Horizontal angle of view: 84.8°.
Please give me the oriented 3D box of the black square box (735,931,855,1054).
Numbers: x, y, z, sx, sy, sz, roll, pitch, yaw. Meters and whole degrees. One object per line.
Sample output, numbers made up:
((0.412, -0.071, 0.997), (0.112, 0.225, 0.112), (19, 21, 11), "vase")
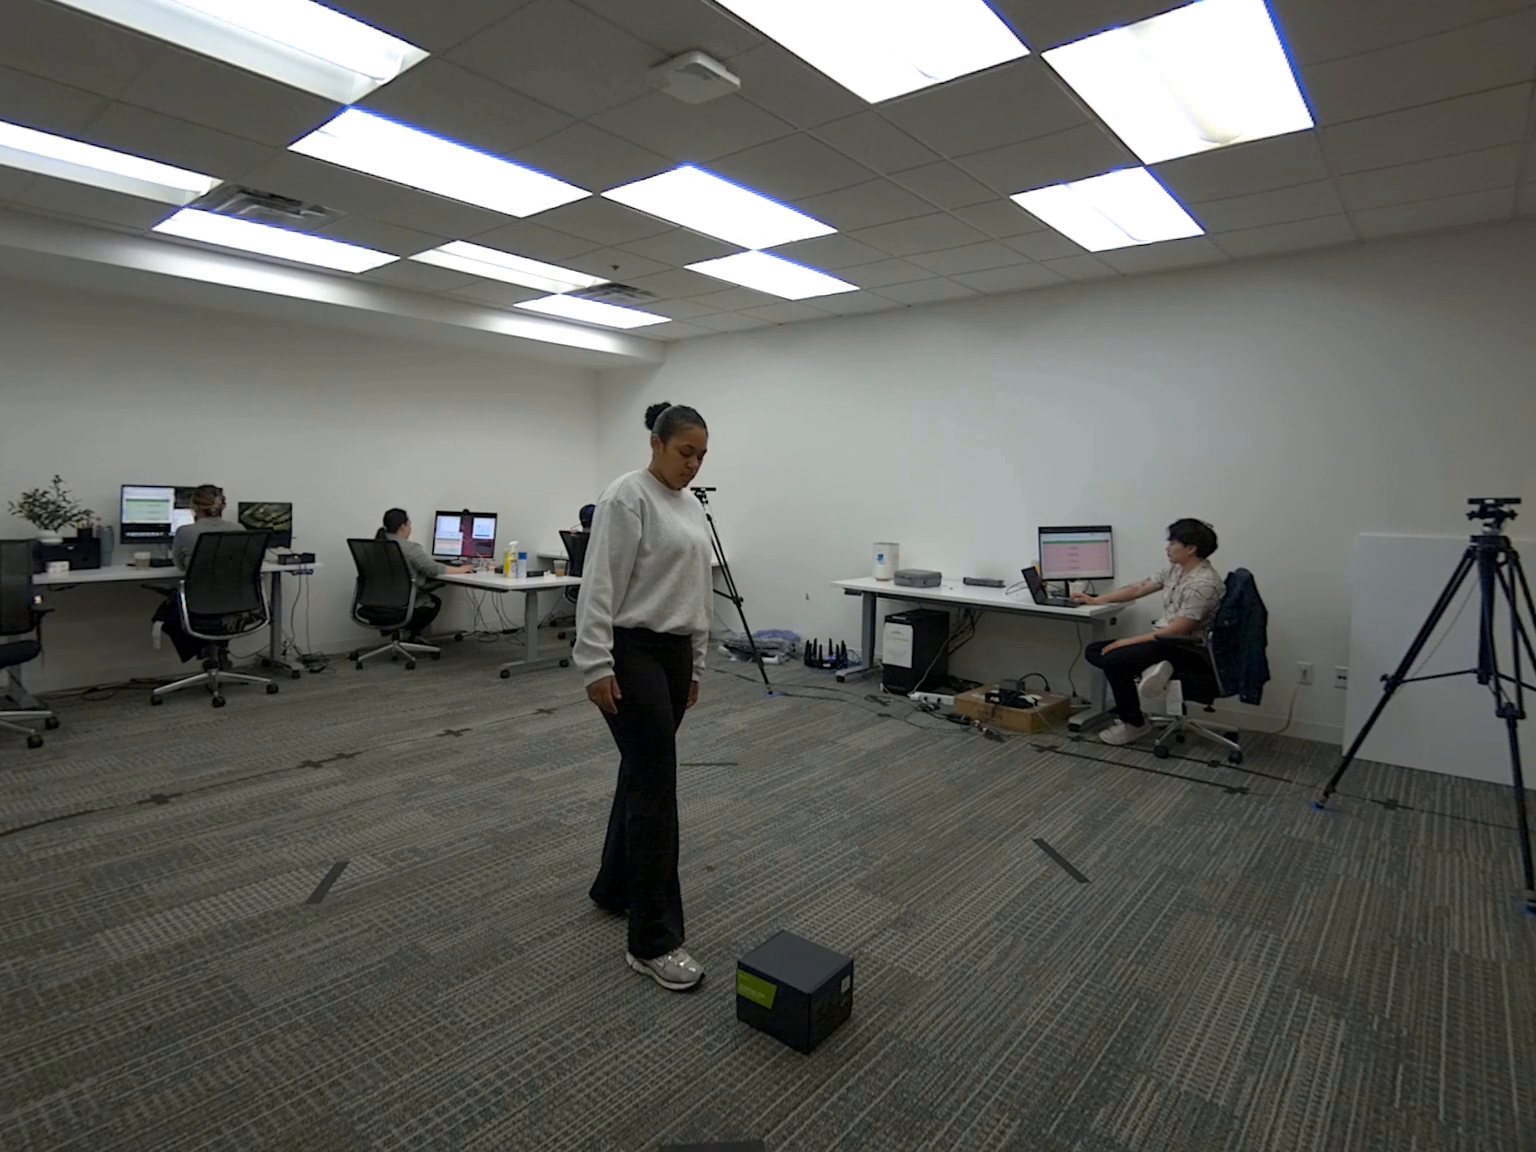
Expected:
((0.059, 1.076, 2.240), (0.235, 0.155, 0.211), (5, 6, 36), "black square box")
